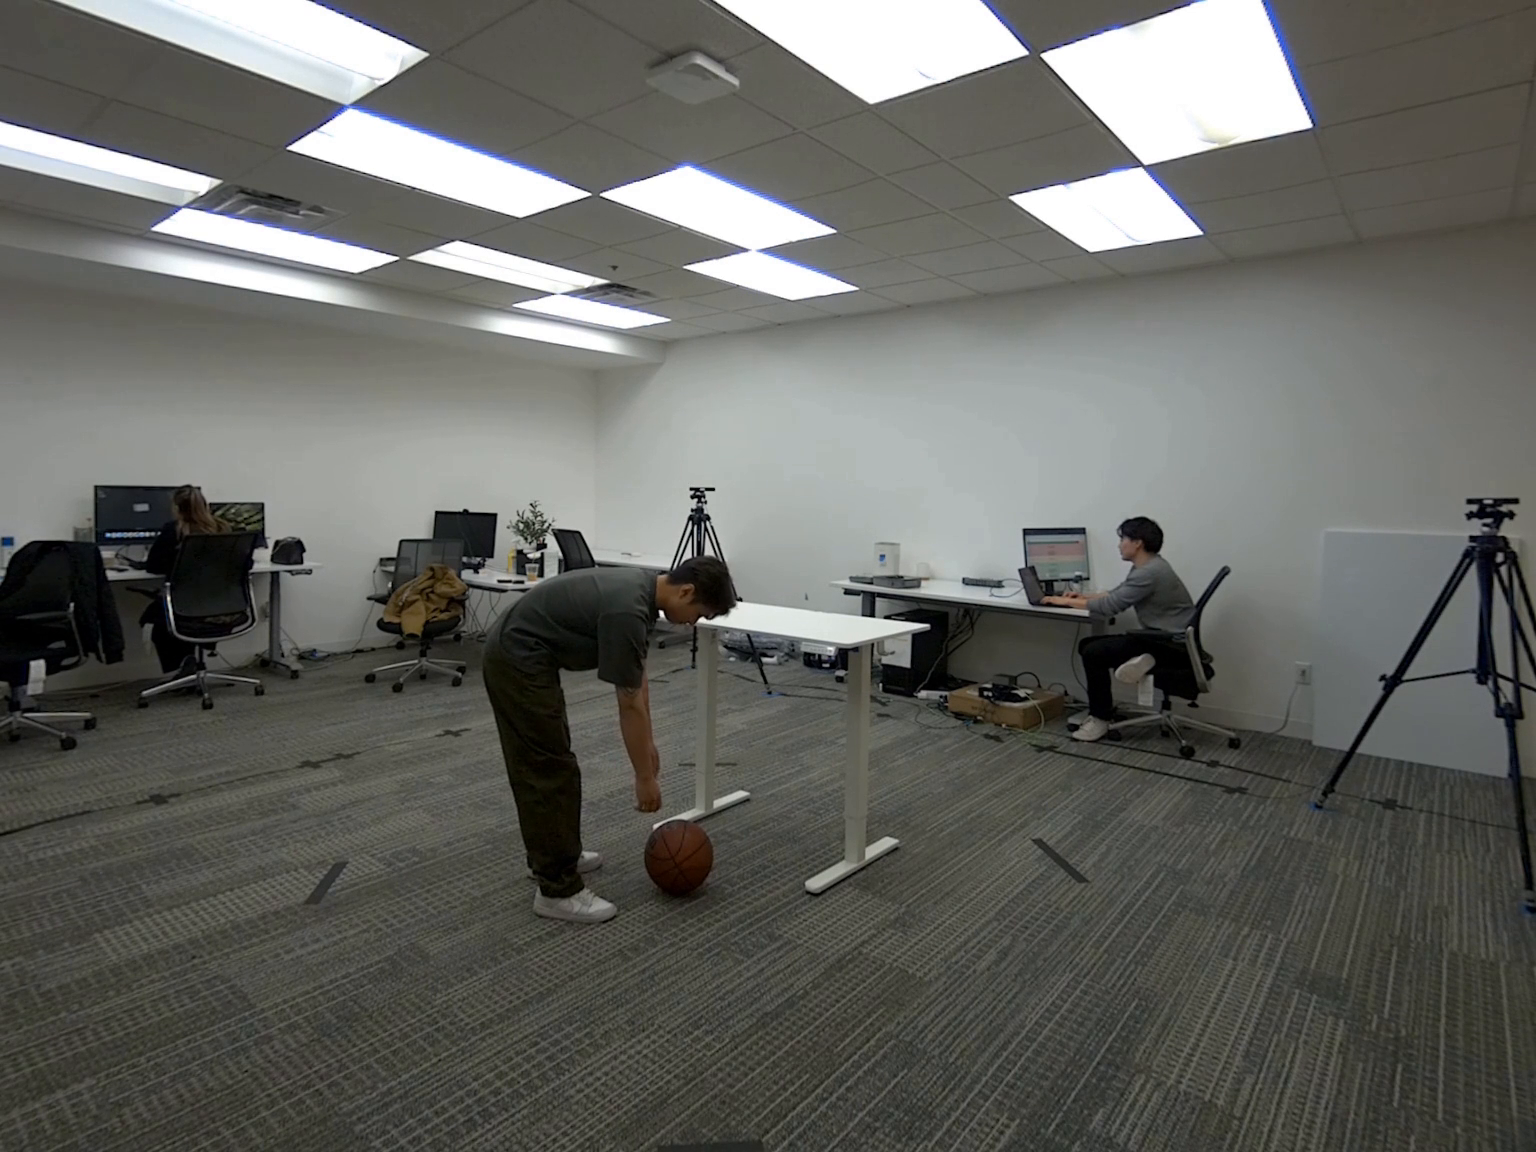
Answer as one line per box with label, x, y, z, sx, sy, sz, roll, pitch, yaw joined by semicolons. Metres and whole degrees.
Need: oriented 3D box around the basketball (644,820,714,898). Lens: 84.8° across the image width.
basketball;-0.316;0.964;2.927;0.235;0.235;0.237;1;4;-2
